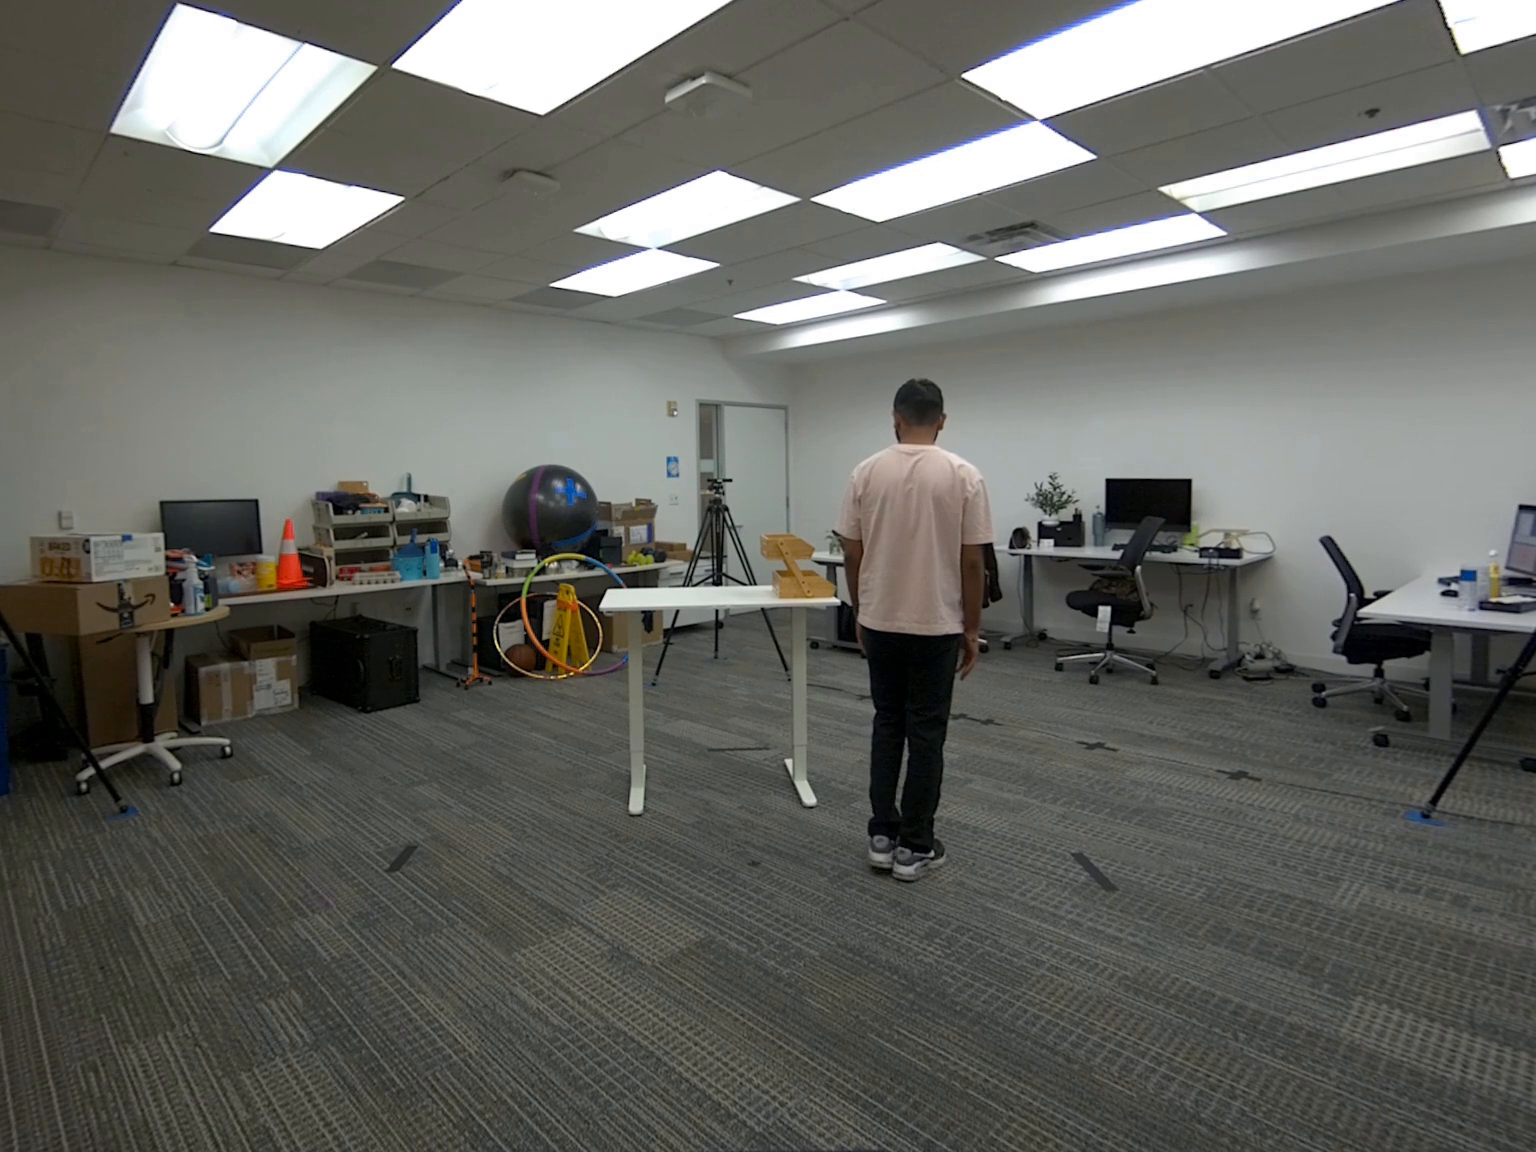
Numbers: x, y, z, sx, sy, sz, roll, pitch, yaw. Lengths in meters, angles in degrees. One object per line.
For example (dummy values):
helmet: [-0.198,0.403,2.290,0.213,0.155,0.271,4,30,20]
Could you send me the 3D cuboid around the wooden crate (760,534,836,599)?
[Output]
wooden crate: [0.137,-0.050,3.837,0.301,0.272,0.327,-1,5,-4]
